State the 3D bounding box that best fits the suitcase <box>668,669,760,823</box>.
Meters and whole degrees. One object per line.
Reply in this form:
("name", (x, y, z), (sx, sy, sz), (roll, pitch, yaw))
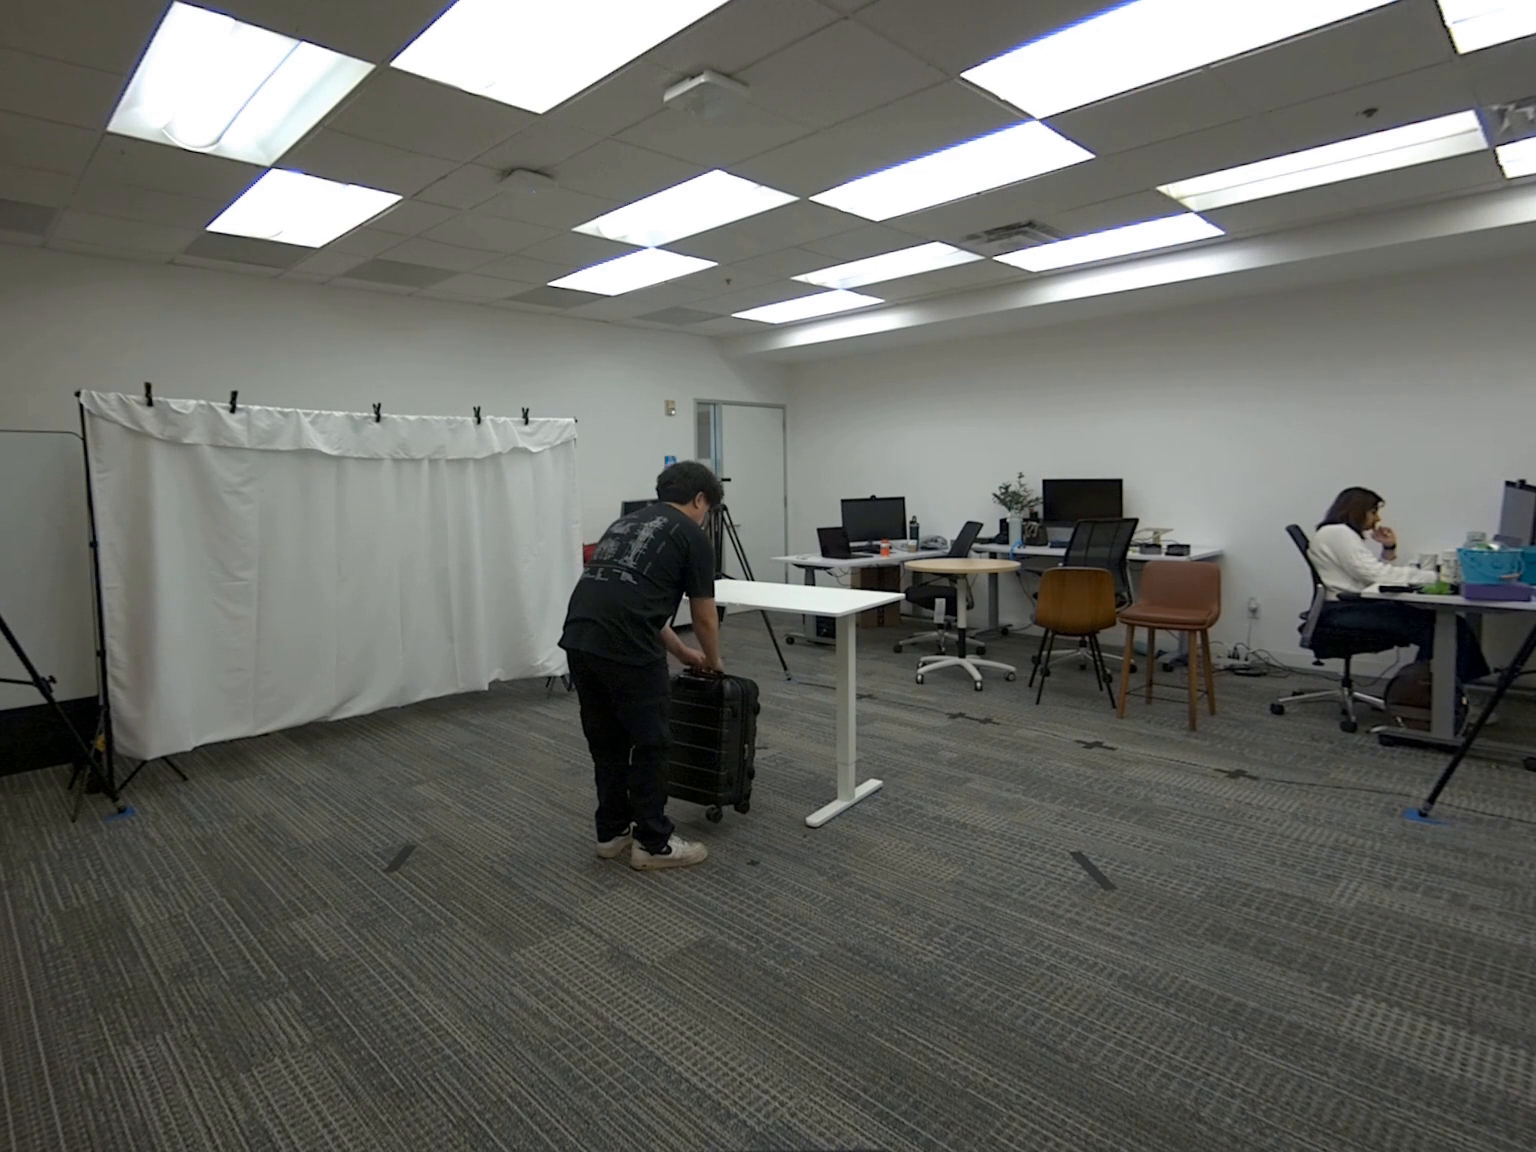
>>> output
("suitcase", (-0.236, 0.666, 3.461), (0.386, 0.551, 0.240), (3, -5, 35))
